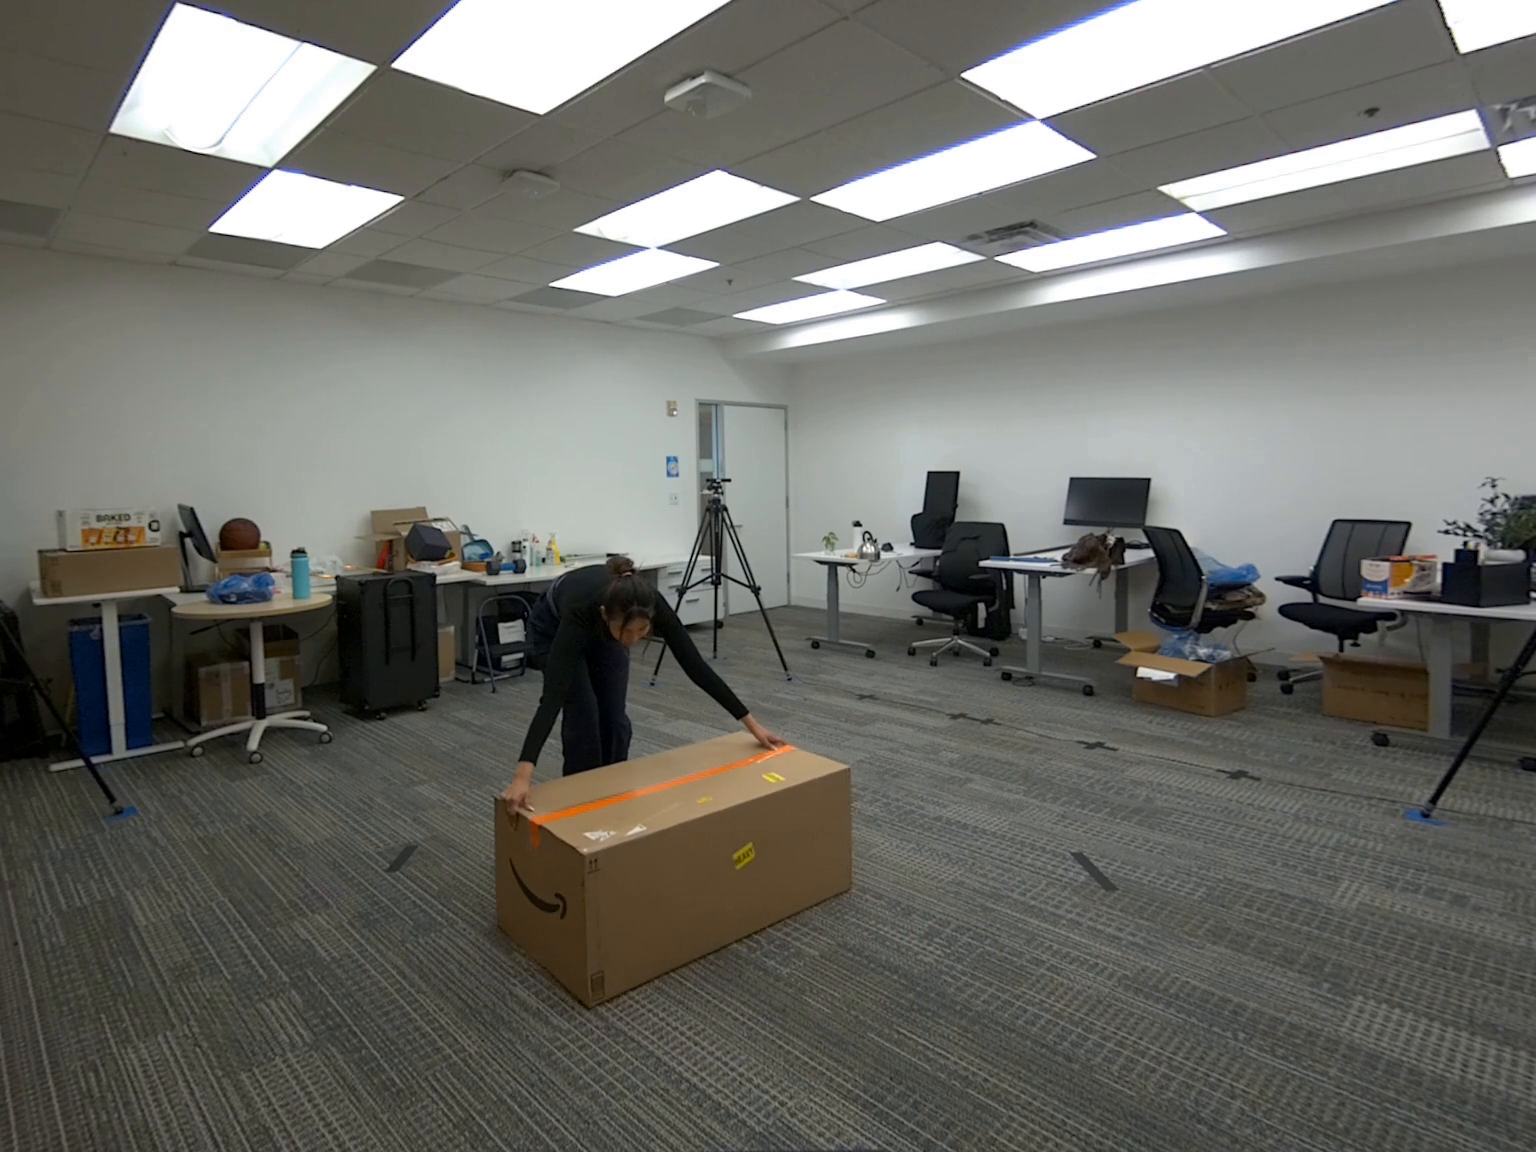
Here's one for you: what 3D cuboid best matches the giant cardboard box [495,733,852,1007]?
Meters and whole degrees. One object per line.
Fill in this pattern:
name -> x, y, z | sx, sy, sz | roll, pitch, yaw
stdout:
giant cardboard box -> -0.287, 0.871, 2.785 | 0.999, 0.424, 0.595 | -6, 8, -40
